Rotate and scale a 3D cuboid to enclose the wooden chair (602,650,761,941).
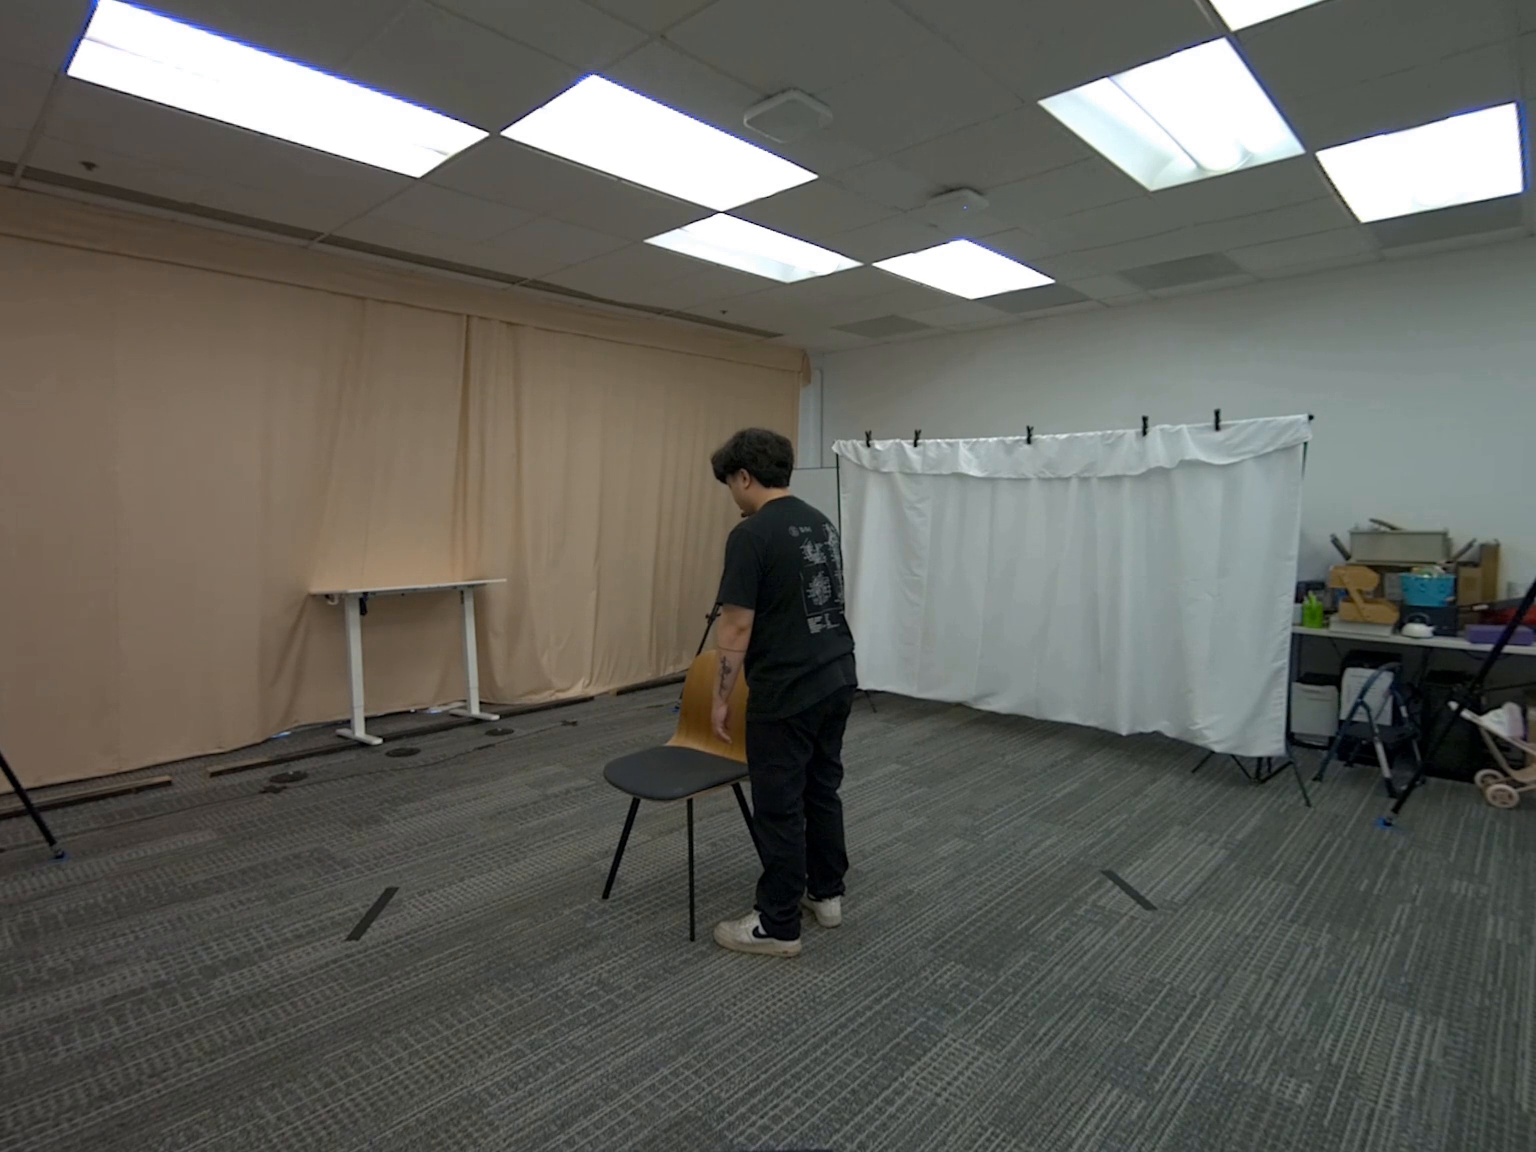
[{"bbox_3d":[-0.277,0.719,2.973,0.494,0.877,0.506,3,0,41],"label":"wooden chair"}]
